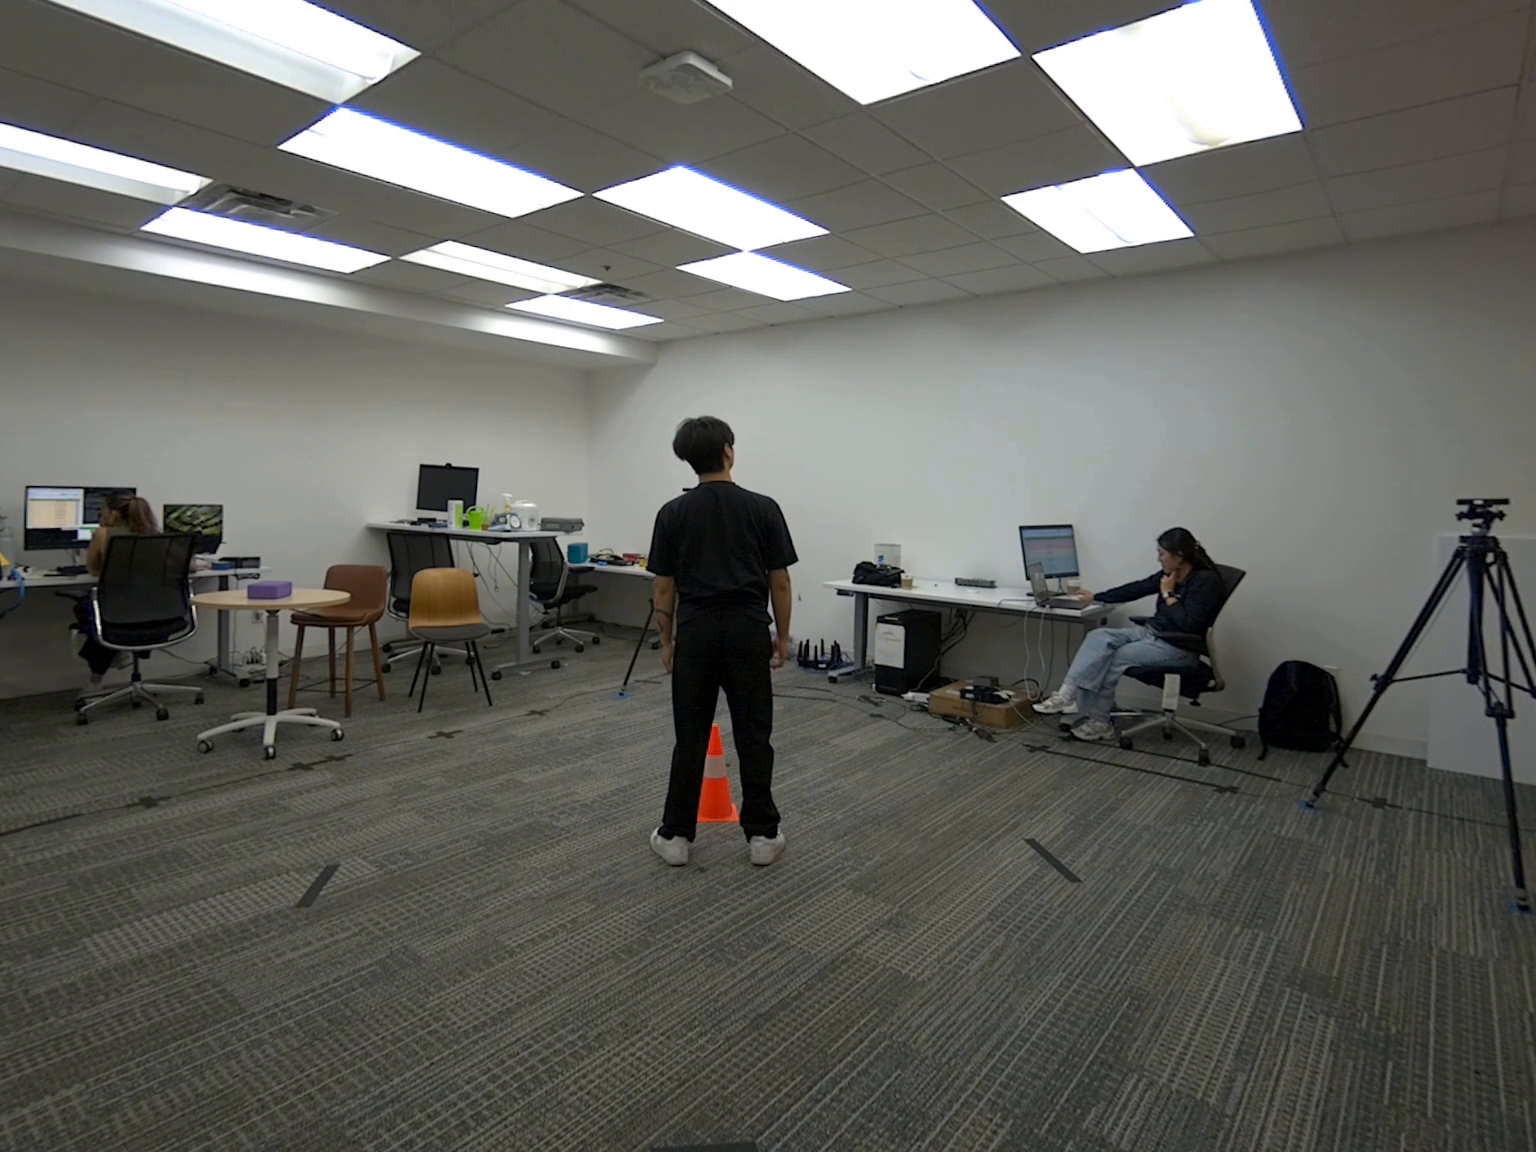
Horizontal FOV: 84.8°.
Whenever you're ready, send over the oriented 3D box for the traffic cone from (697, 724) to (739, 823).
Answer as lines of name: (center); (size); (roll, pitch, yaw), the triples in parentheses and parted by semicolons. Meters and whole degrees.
traffic cone: (-0.234, 0.830, 3.657); (0.204, 0.382, 0.205); (2, 4, -6)
